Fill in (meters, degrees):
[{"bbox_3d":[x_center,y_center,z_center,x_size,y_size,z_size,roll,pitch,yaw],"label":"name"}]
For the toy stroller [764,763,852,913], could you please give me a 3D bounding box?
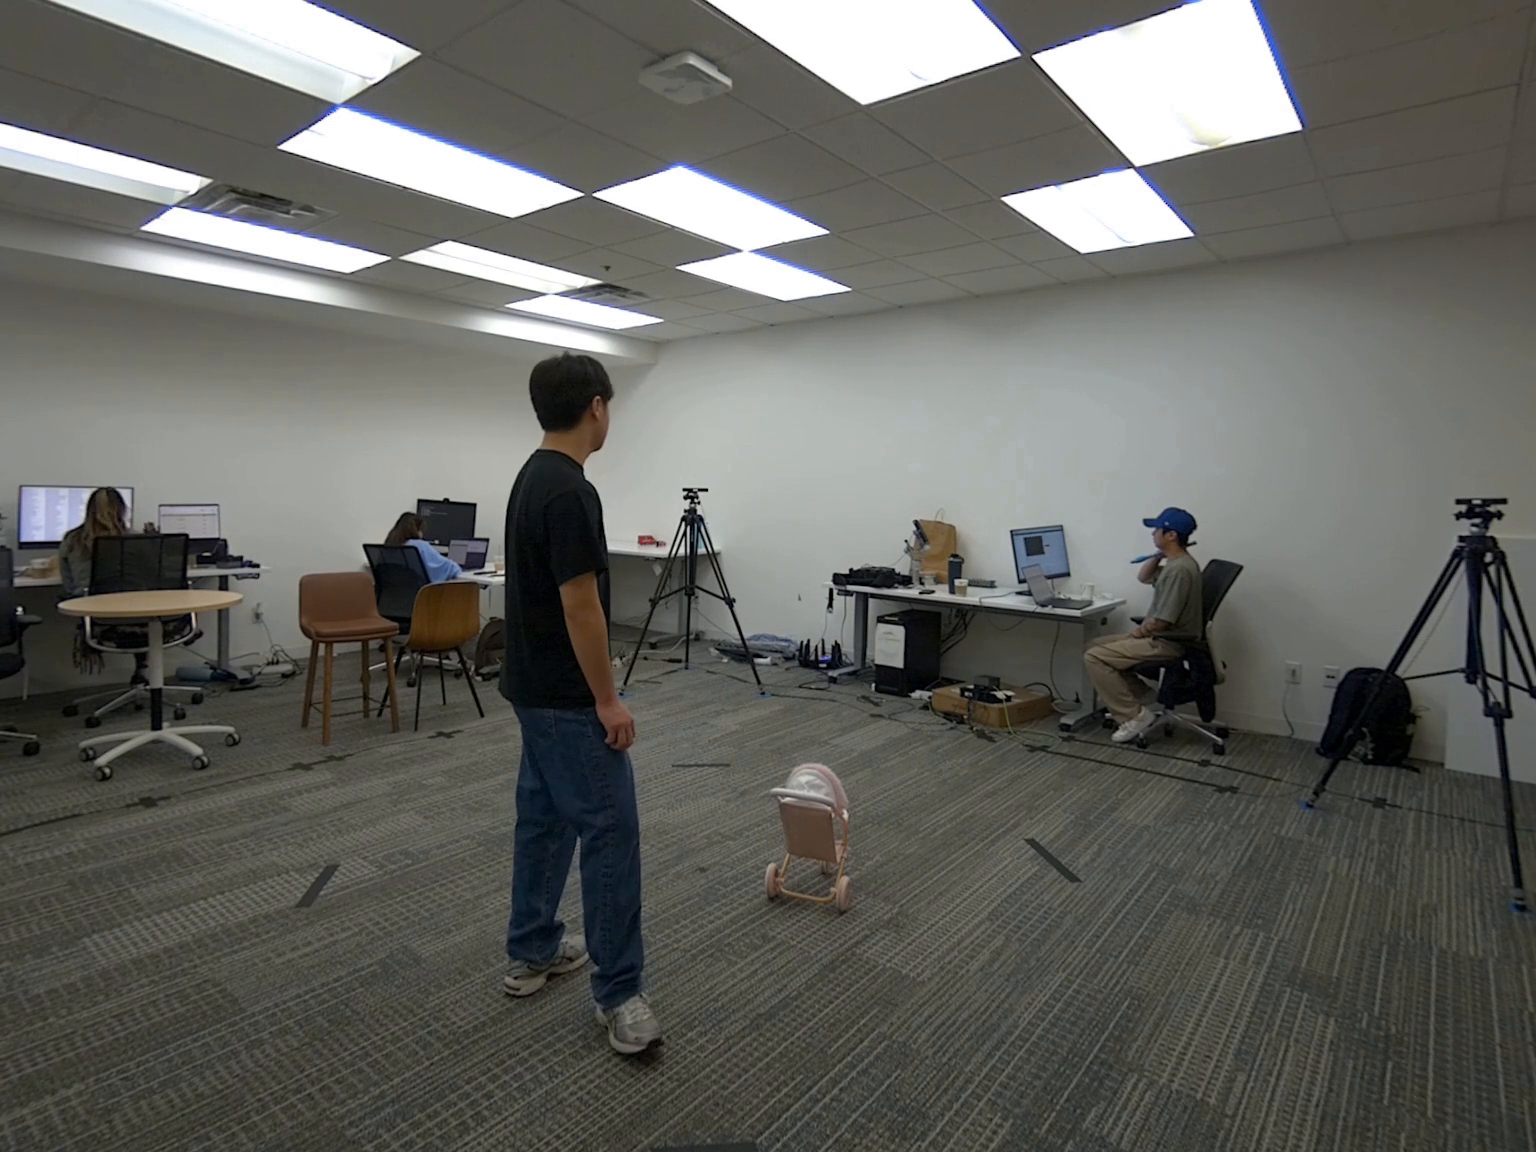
[{"bbox_3d":[0.151,0.871,2.921,0.288,0.525,0.339,4,20,22],"label":"toy stroller"}]
